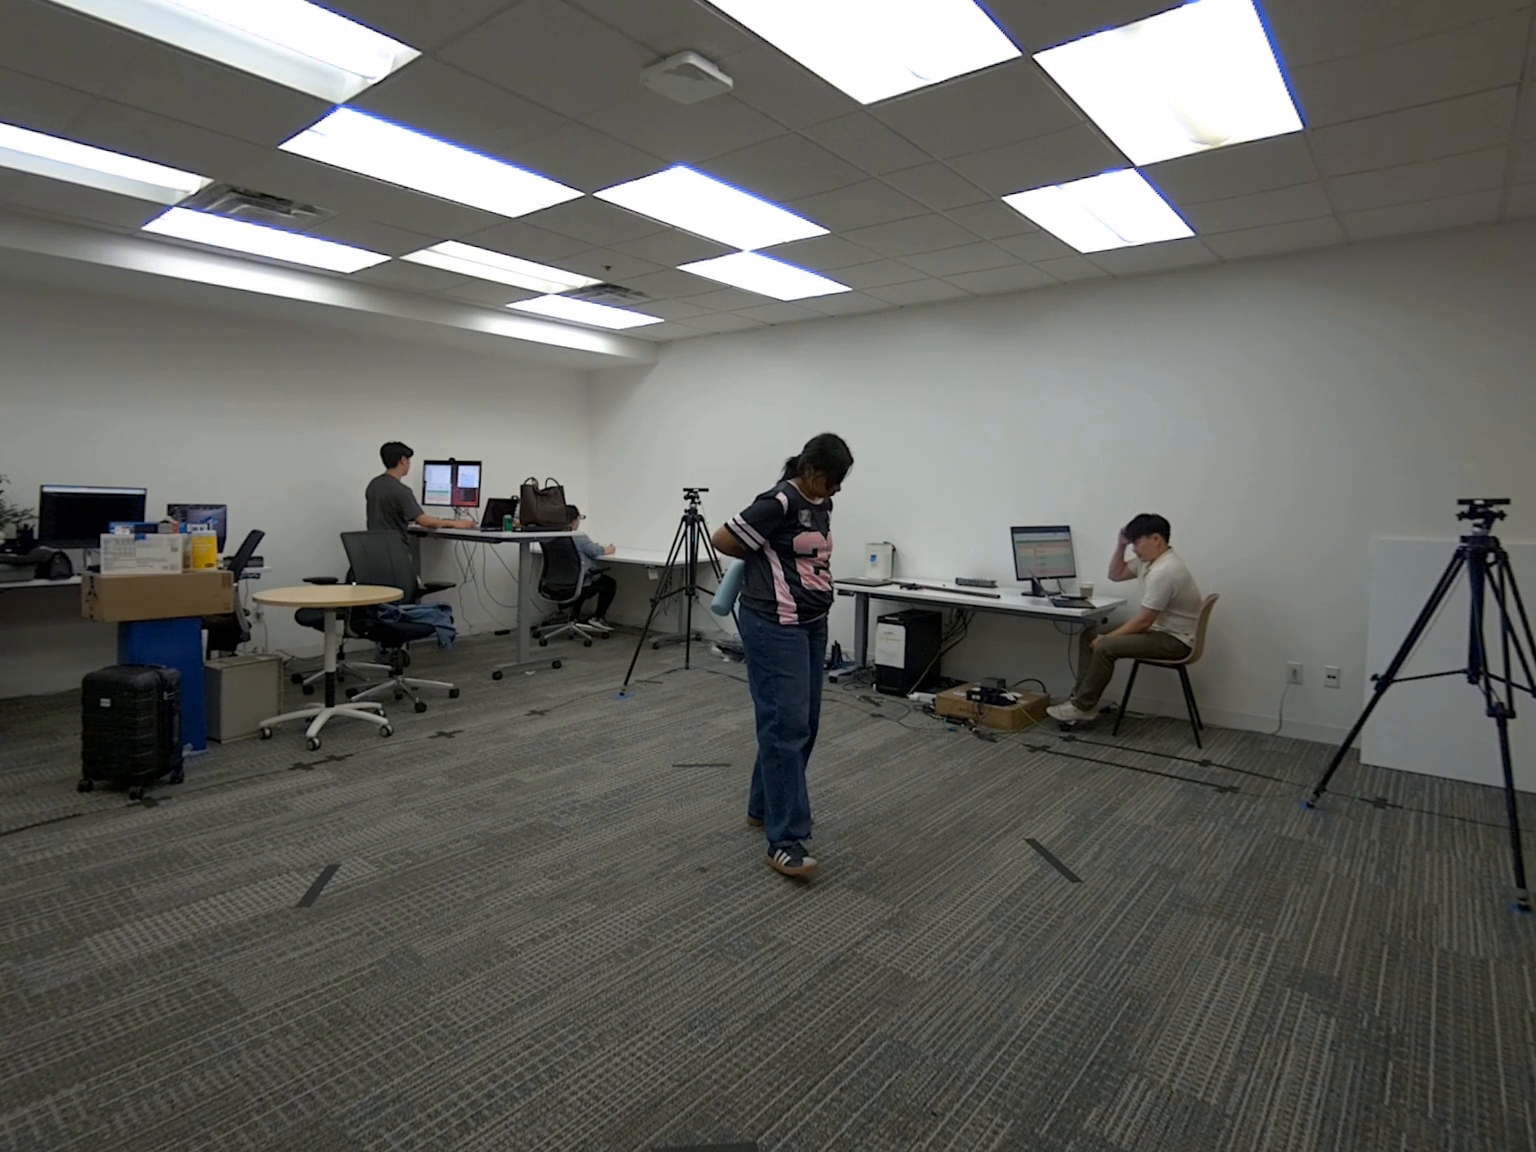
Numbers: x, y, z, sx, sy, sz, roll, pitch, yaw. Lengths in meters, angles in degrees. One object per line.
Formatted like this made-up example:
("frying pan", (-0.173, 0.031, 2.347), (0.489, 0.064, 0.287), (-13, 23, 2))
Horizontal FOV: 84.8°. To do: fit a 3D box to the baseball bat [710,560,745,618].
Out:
("baseball bat", (-0.093, -0.068, 3.629), (0.090, 0.549, 0.087), (19, -31, 10))
